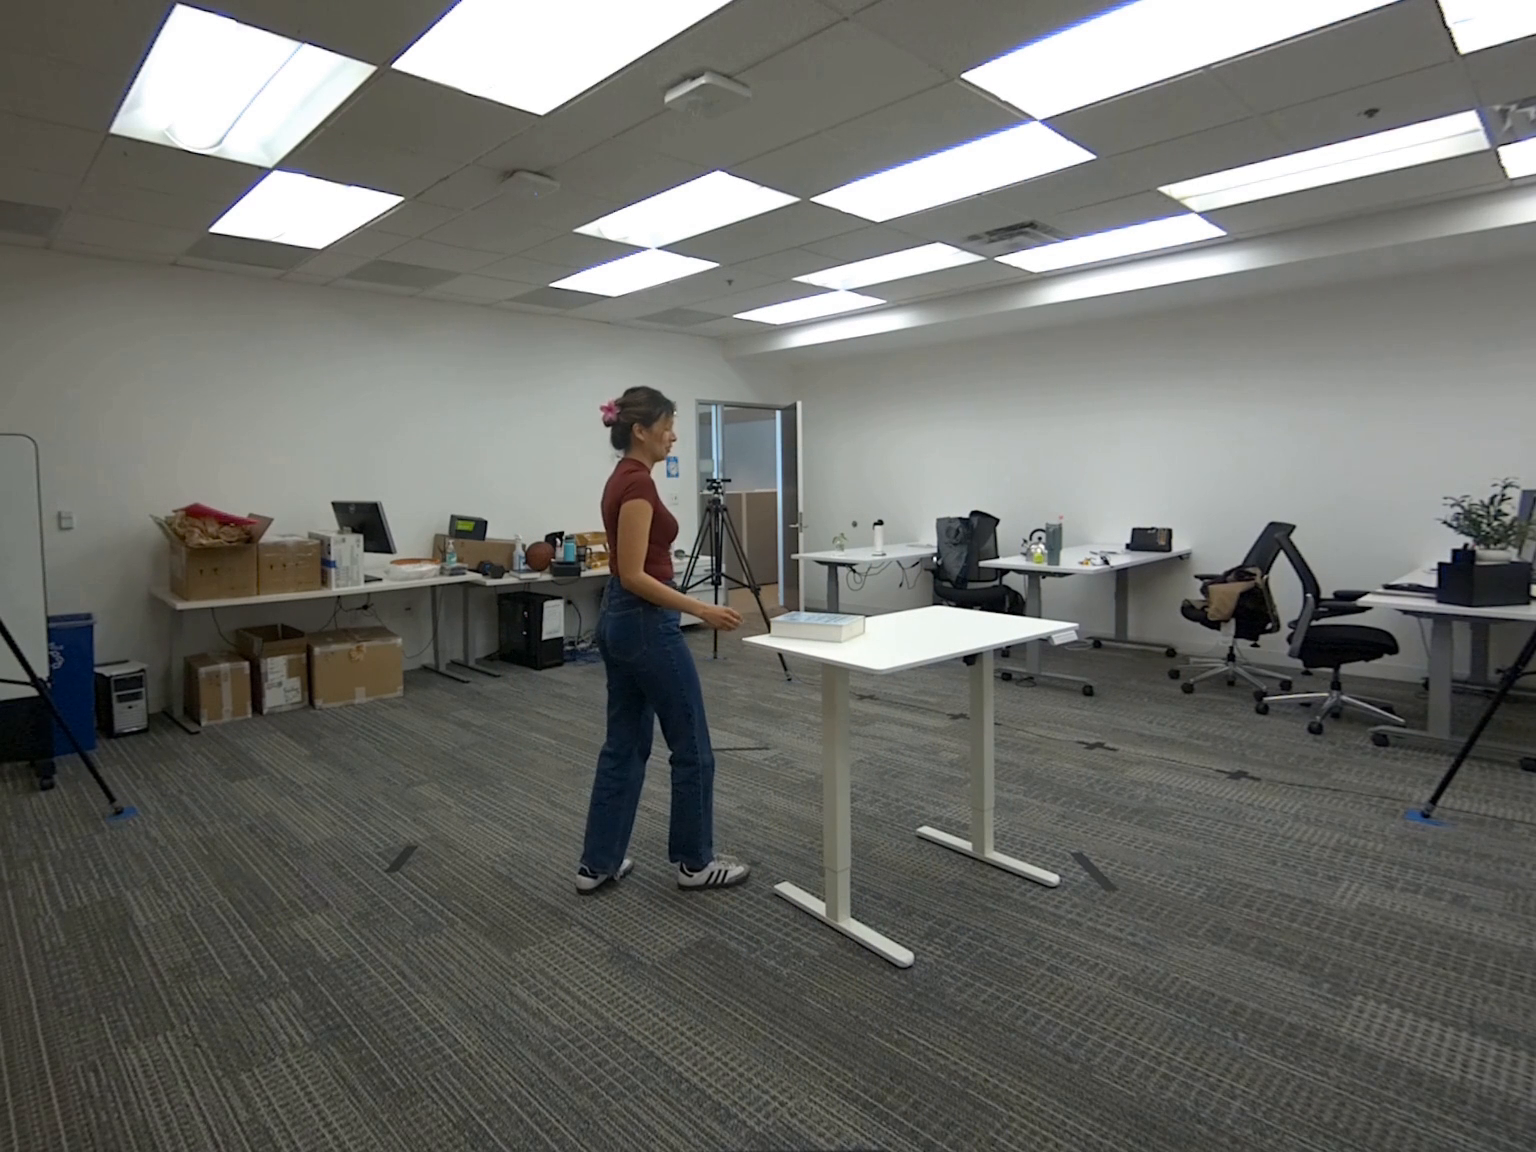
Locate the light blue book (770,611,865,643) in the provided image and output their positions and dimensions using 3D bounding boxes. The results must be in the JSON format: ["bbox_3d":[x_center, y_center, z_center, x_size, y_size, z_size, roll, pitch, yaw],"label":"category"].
[{"bbox_3d":[0.164,0.163,2.808,0.268,0.059,0.187,3,7,31],"label":"light blue book"}]
